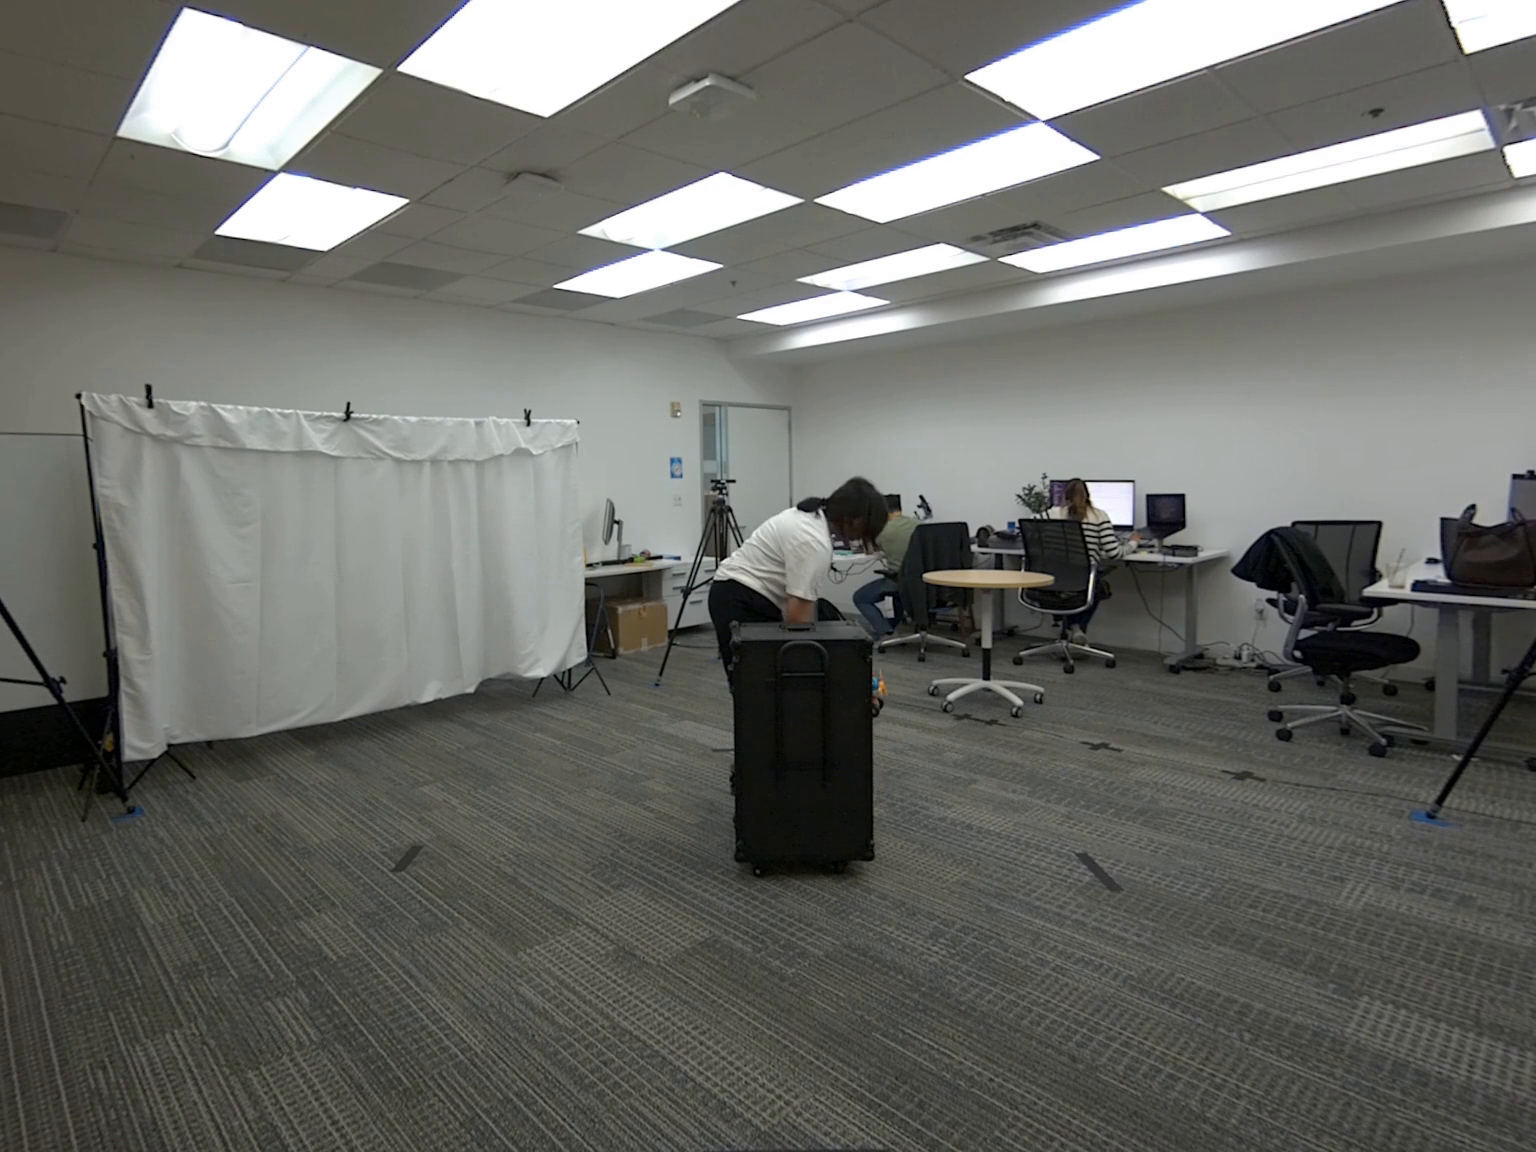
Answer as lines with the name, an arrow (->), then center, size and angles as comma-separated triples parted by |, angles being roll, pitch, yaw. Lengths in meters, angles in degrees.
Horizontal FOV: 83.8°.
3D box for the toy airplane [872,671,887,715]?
toy airplane -> 0.361, 0.495, 3.501 | 0.258, 0.155, 0.255 | -5, 10, -7
